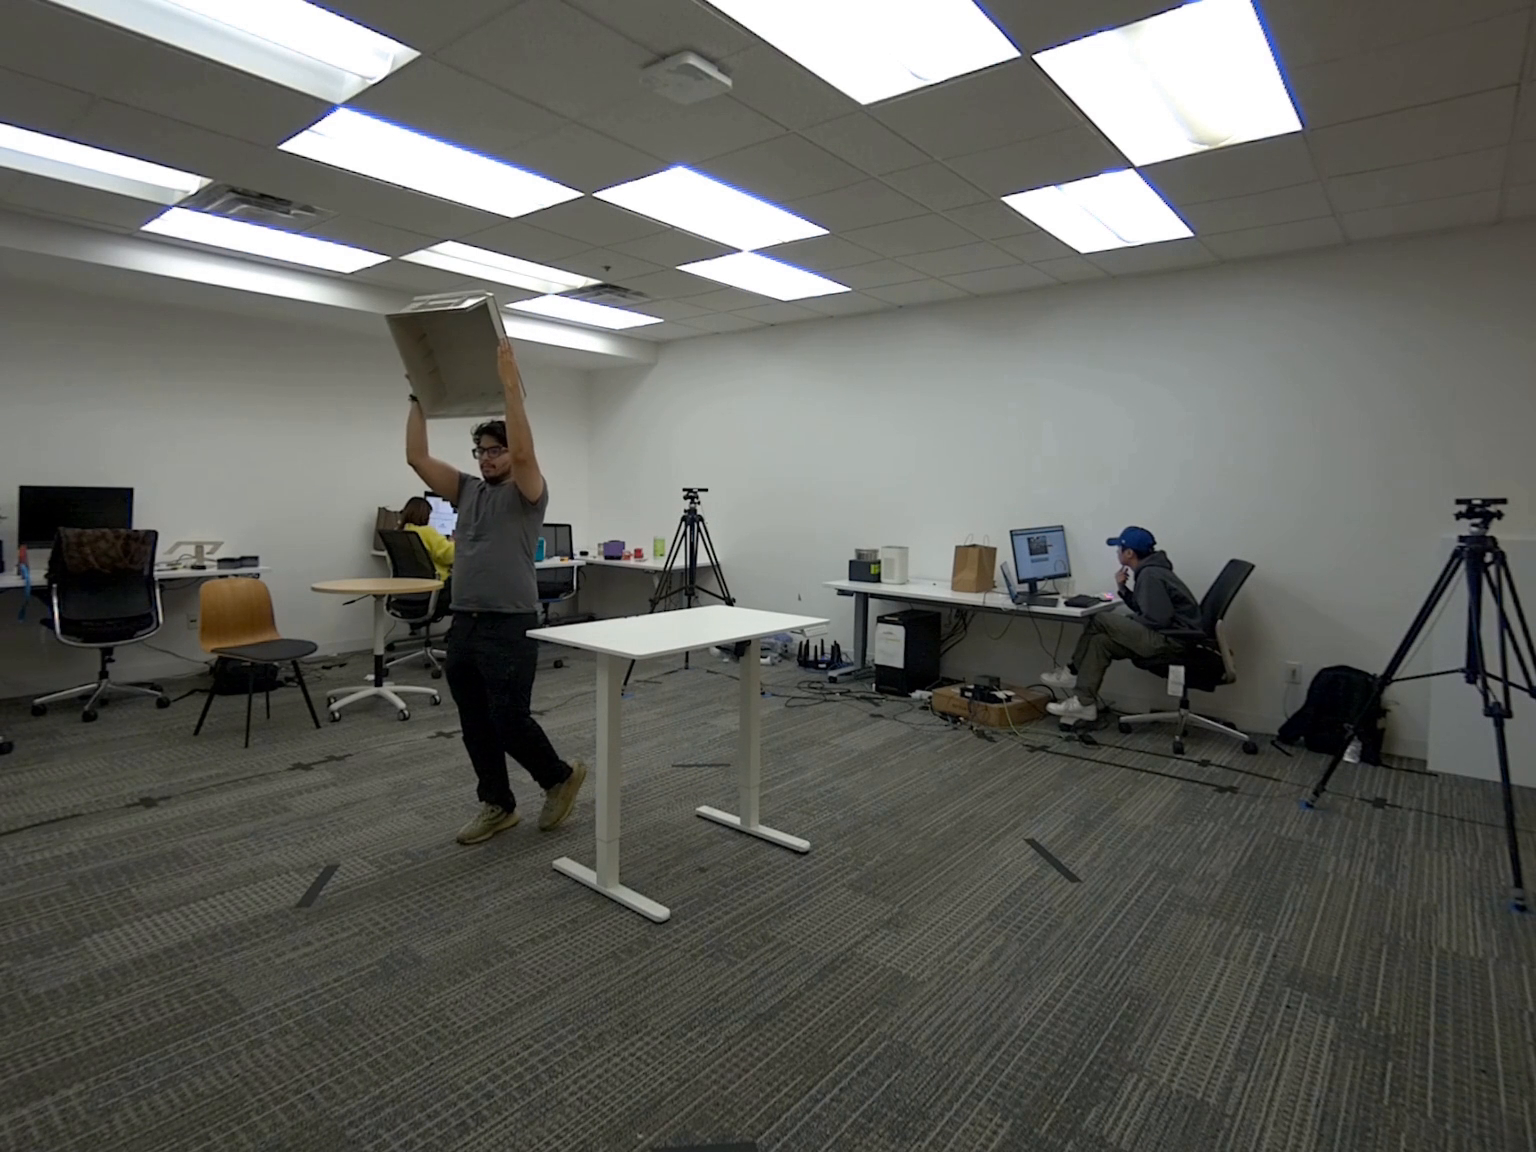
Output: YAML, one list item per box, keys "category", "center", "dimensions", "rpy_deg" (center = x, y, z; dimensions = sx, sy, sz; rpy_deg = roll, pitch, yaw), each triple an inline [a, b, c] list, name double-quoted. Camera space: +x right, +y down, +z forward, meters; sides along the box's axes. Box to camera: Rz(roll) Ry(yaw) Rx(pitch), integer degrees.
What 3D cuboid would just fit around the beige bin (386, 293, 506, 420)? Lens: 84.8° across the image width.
- category: "beige bin"
  center: [-1.156, -0.817, 3.148]
  dimensions: [0.385, 0.409, 0.191]
  rpy_deg: [2, 36, 18]
